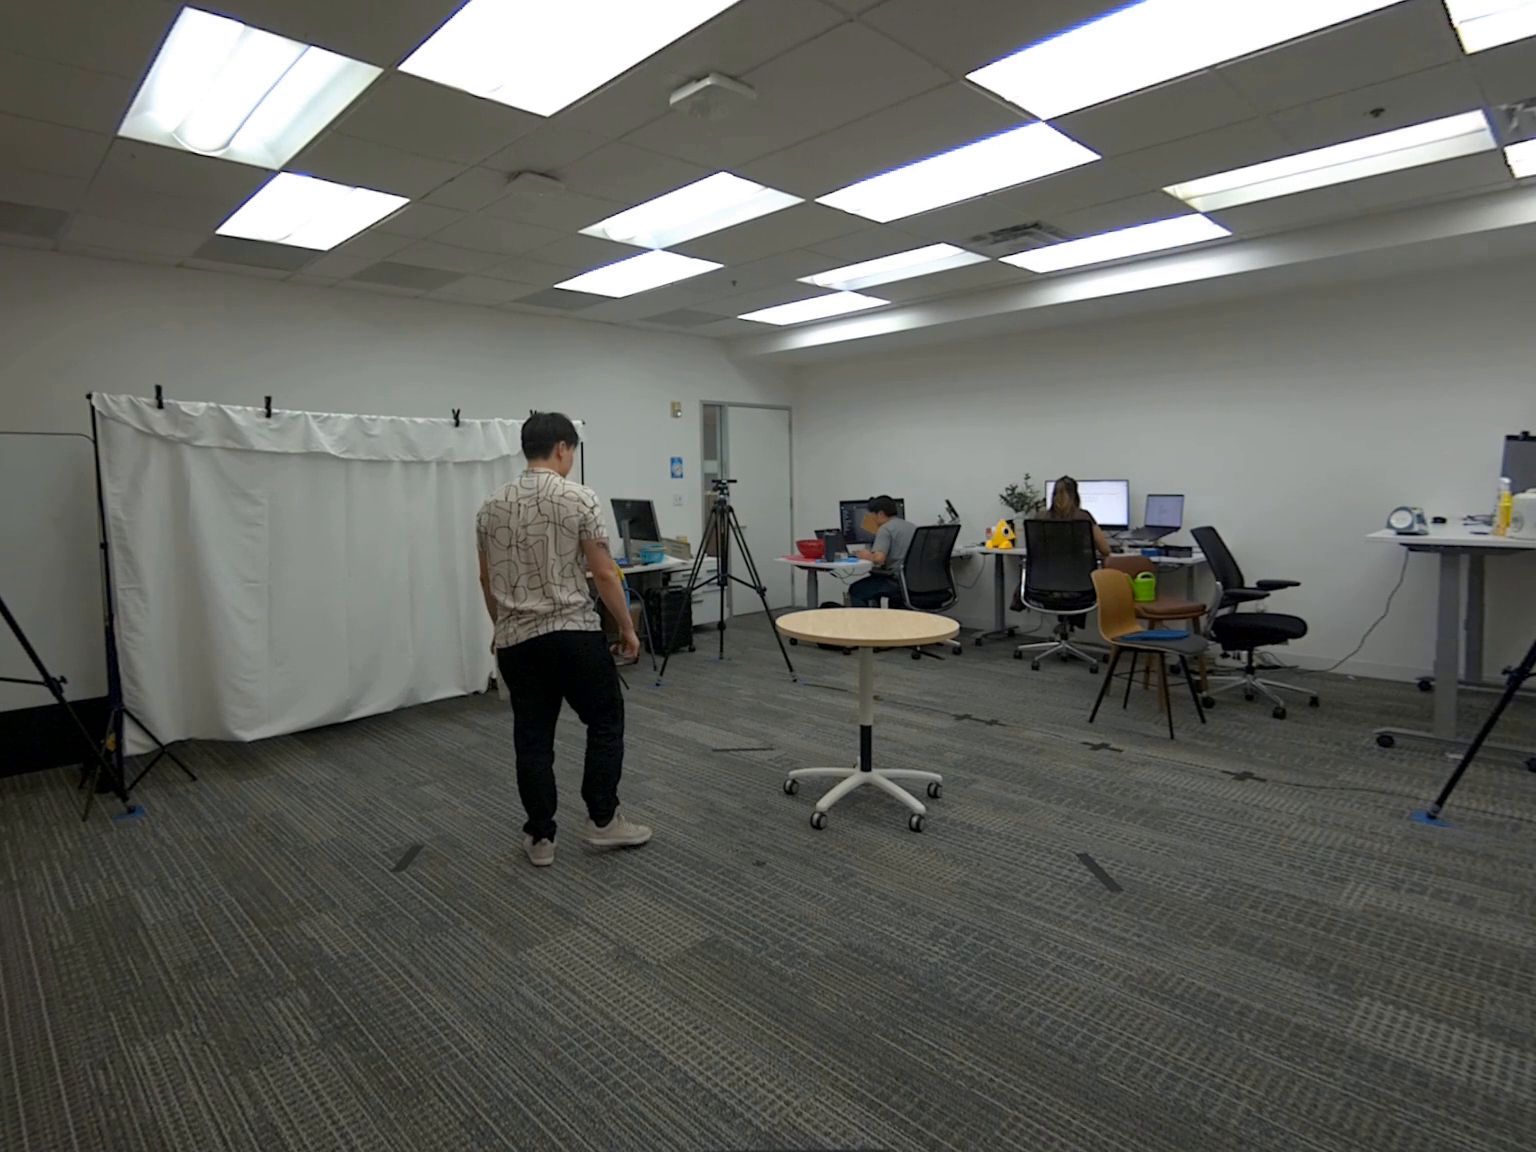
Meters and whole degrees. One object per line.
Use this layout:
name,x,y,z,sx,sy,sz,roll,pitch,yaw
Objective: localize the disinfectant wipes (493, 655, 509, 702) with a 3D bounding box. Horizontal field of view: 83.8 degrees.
disinfectant wipes,-1.015,0.383,3.404,0.118,0.218,0.118,-10,-1,-2
